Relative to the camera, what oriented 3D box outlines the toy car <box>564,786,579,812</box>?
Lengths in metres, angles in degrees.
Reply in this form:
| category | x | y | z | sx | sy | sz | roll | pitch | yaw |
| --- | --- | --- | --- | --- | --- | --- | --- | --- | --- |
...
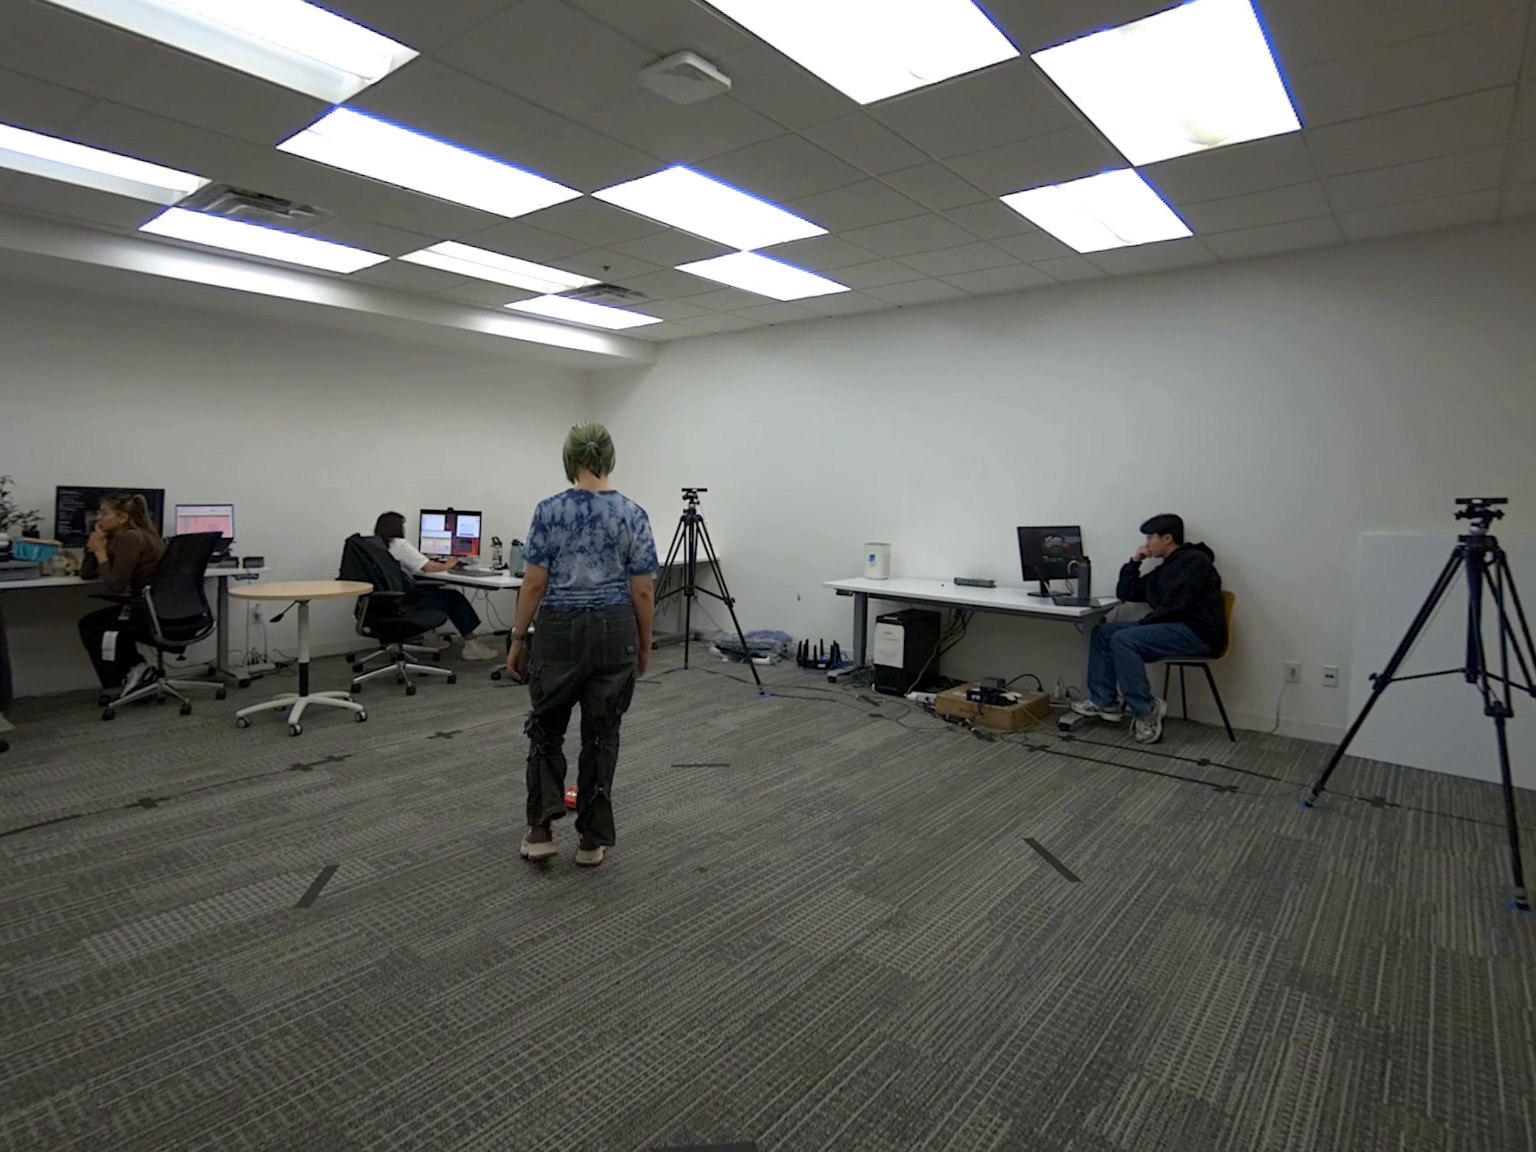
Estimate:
| category | x | y | z | sx | sy | sz | roll | pitch | yaw |
| --- | --- | --- | --- | --- | --- | --- | --- | --- | --- |
| toy car | -0.824 | 0.962 | 3.743 | 0.134 | 0.083 | 0.246 | 4 | -5 | 26 |
